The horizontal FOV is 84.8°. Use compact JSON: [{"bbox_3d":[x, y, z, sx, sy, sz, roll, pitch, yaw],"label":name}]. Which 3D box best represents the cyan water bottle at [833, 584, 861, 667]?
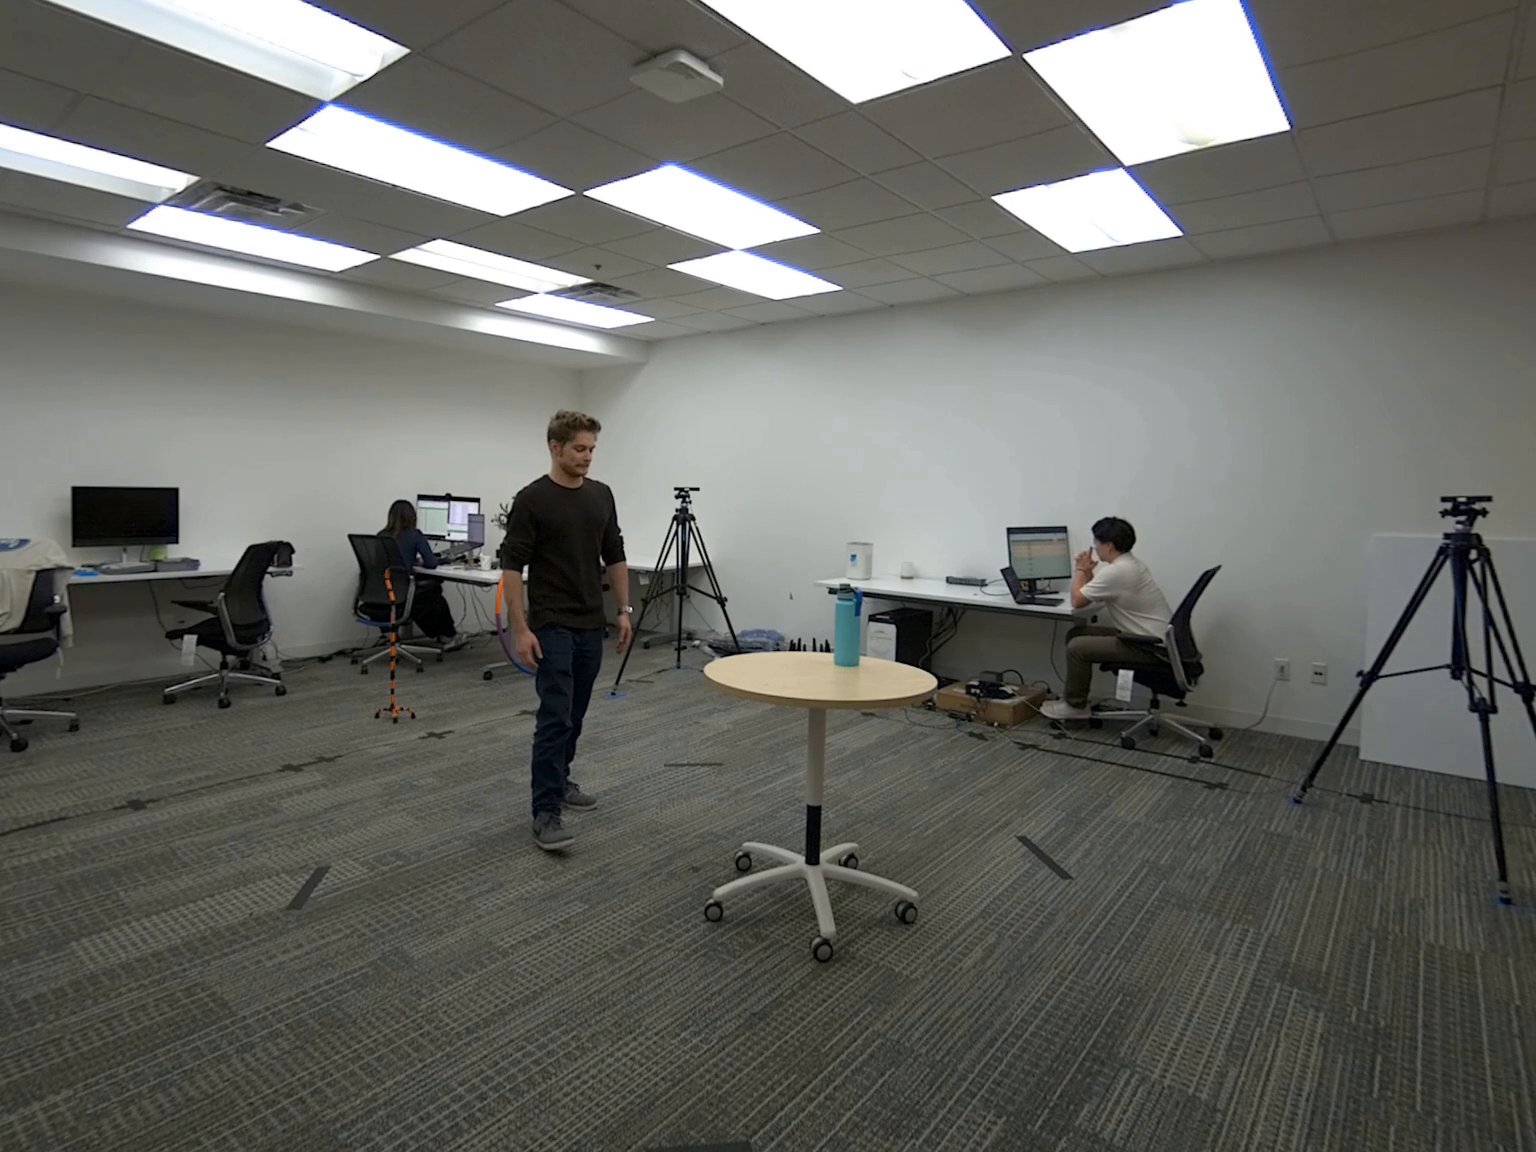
[{"bbox_3d":[0.274,0.168,2.986,0.092,0.282,0.093,3,5,-2],"label":"cyan water bottle"}]
